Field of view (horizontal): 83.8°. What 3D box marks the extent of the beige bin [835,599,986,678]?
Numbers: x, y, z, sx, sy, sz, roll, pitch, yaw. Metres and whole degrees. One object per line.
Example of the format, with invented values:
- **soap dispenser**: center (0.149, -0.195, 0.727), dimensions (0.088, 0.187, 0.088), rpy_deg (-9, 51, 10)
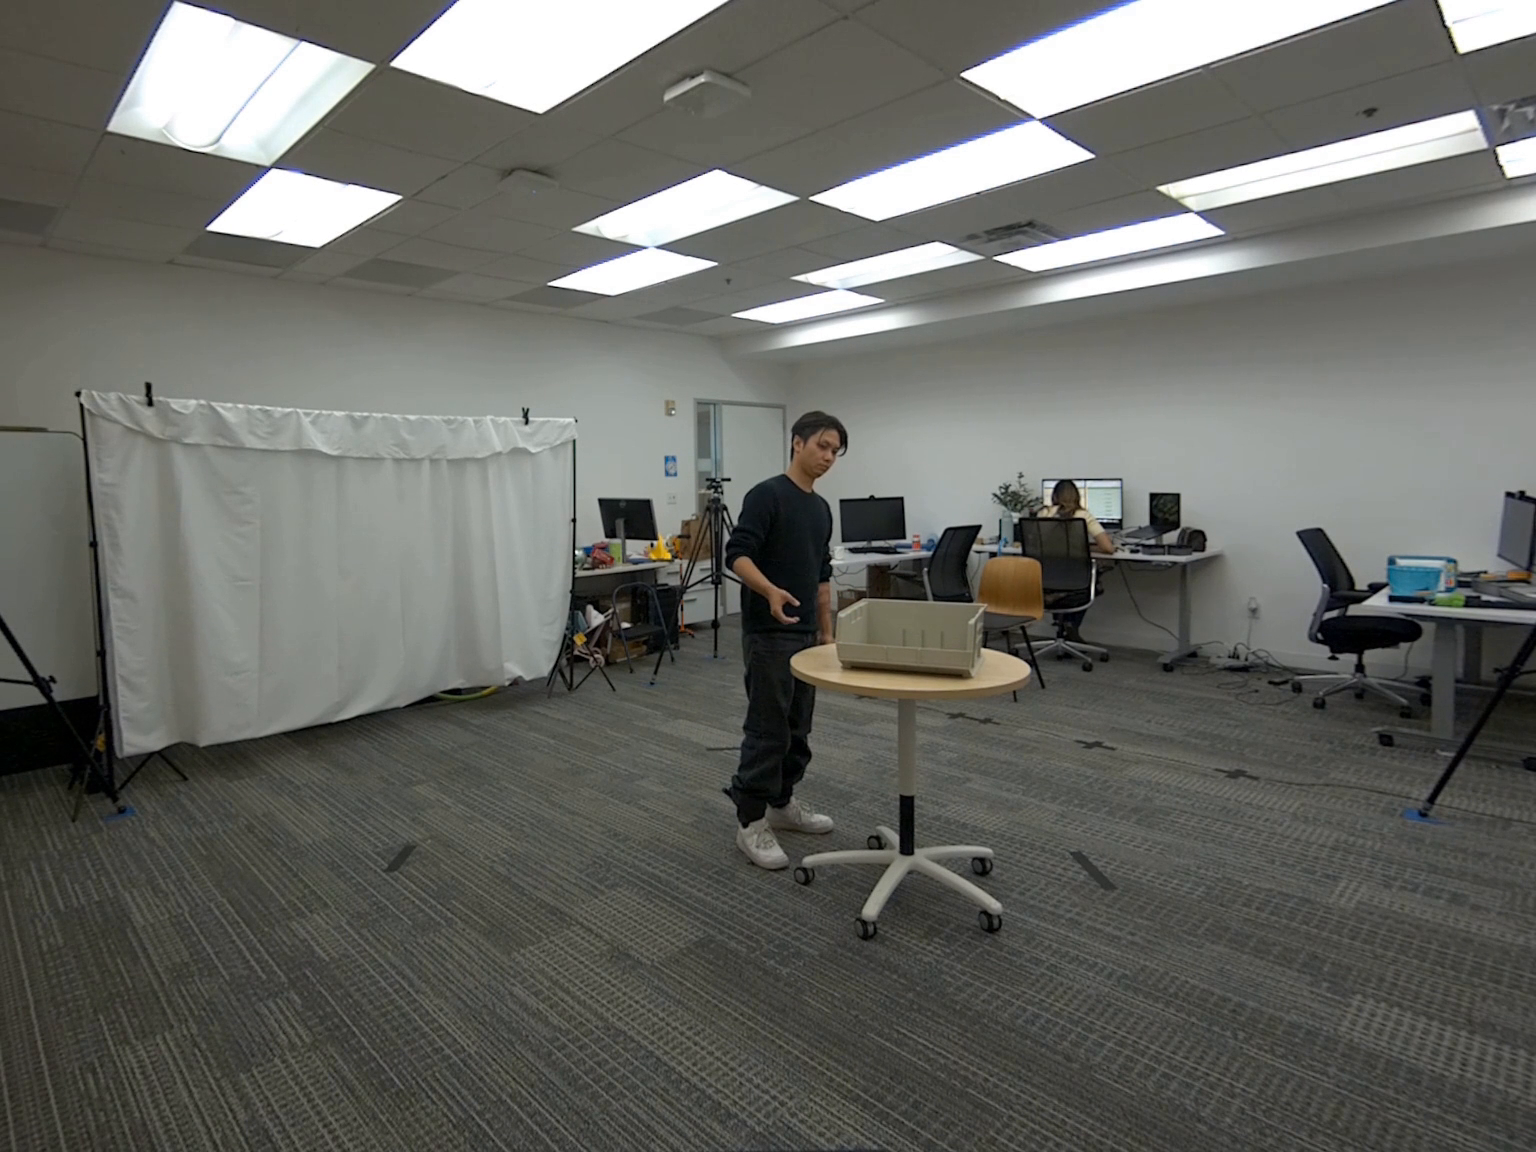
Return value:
- **beige bin**: center (0.489, 0.204, 2.760), dimensions (0.429, 0.188, 0.372), rpy_deg (0, 5, 17)
